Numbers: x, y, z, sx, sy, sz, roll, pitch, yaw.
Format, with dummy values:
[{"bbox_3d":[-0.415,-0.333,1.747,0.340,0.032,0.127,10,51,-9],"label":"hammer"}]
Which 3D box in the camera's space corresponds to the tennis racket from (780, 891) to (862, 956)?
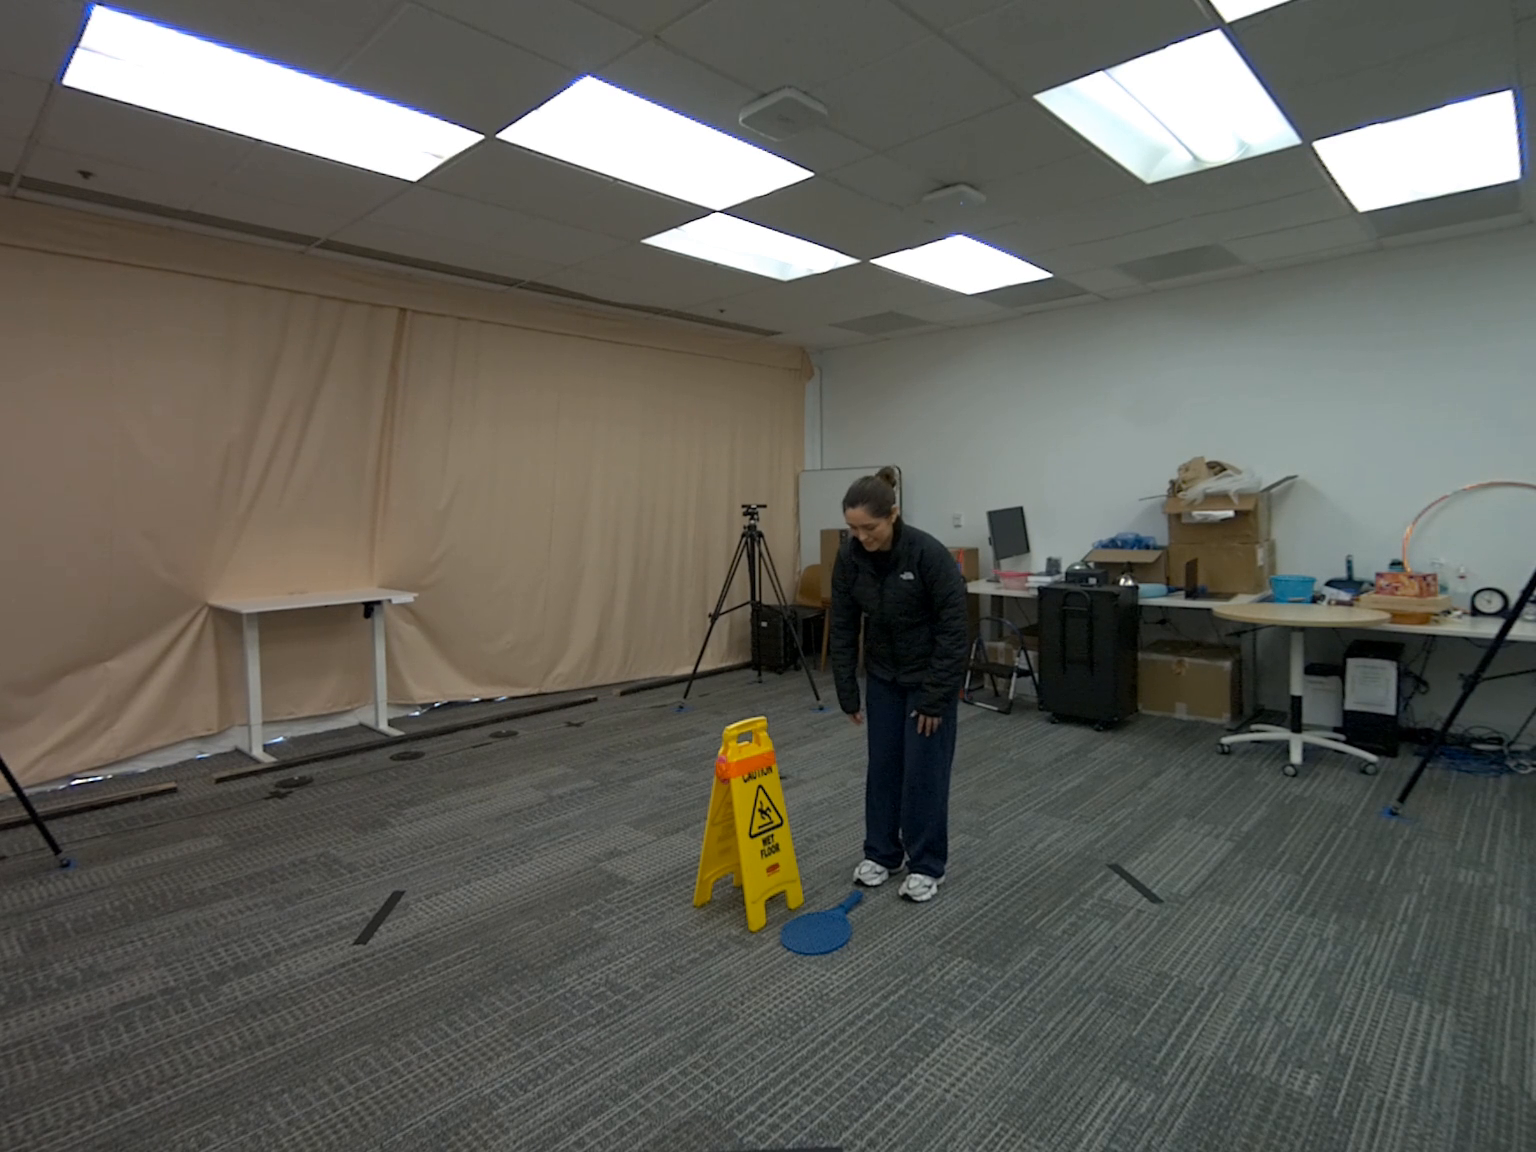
[{"bbox_3d":[0.215,1.142,2.788,0.220,0.031,0.422,3,8,31],"label":"tennis racket"}]
